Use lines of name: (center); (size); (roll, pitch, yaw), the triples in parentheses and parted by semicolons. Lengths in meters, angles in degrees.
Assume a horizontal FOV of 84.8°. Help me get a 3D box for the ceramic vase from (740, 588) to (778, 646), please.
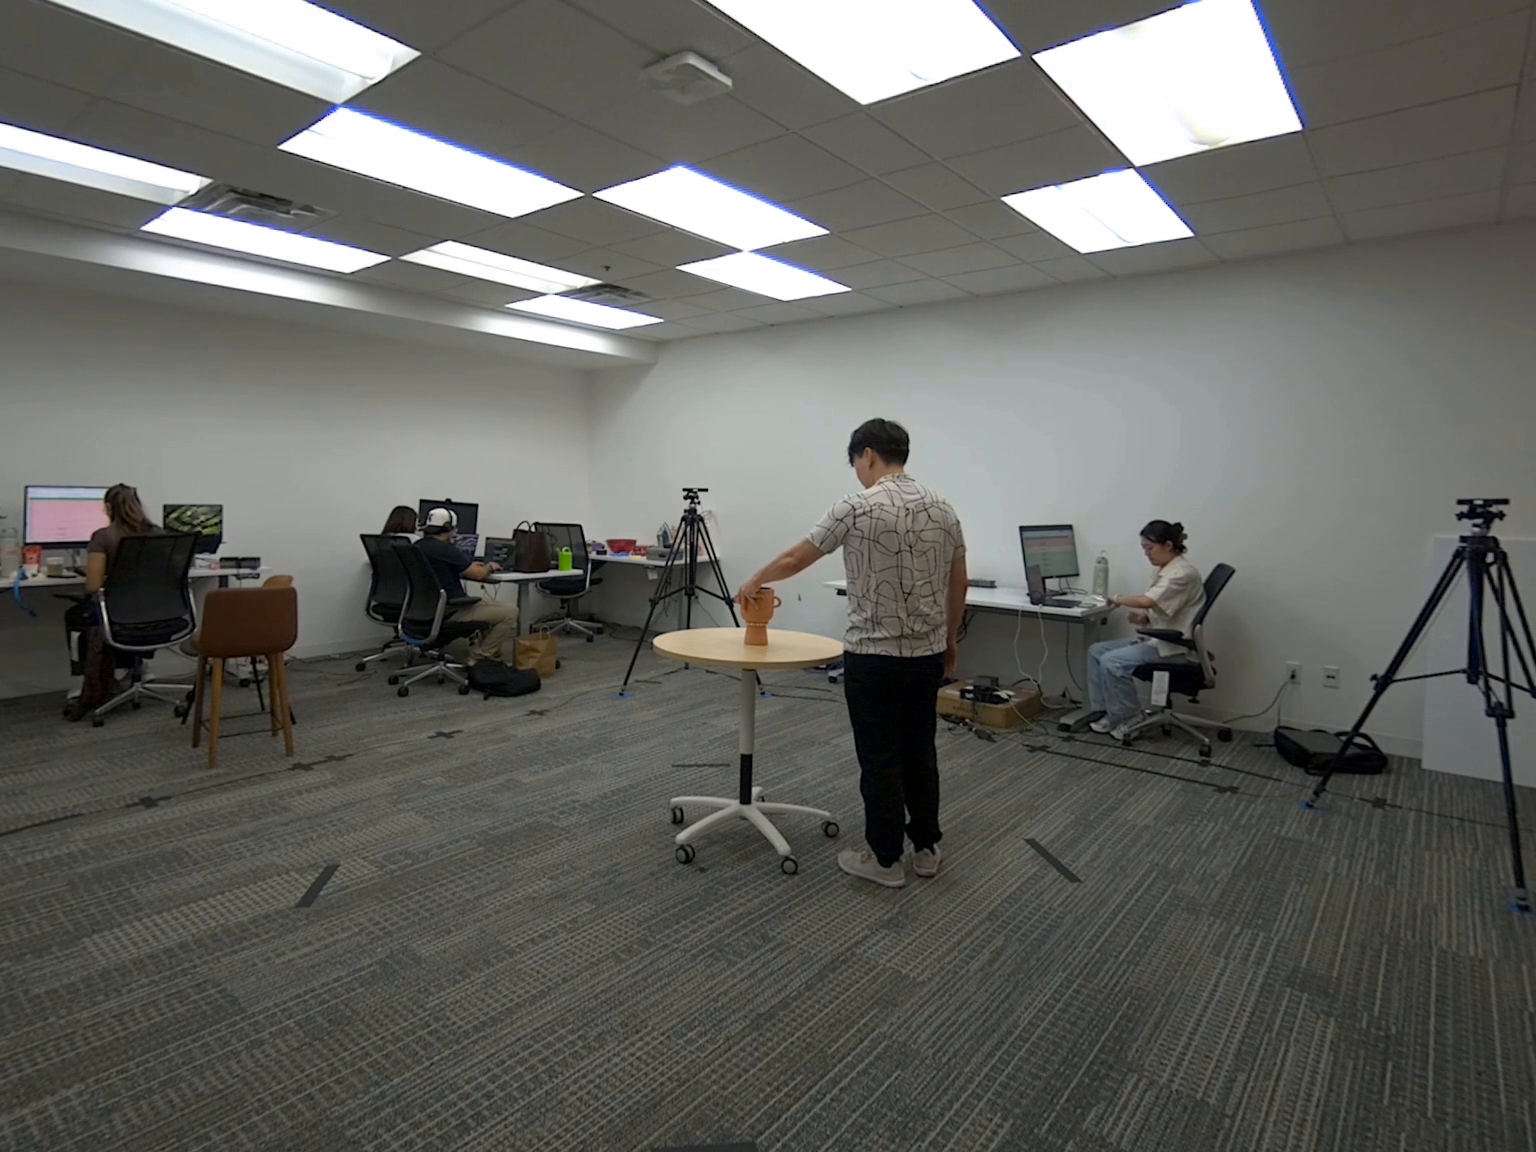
ceramic vase: (-0.051, 0.156, 3.360); (0.131, 0.219, 0.163); (0, 4, -29)
